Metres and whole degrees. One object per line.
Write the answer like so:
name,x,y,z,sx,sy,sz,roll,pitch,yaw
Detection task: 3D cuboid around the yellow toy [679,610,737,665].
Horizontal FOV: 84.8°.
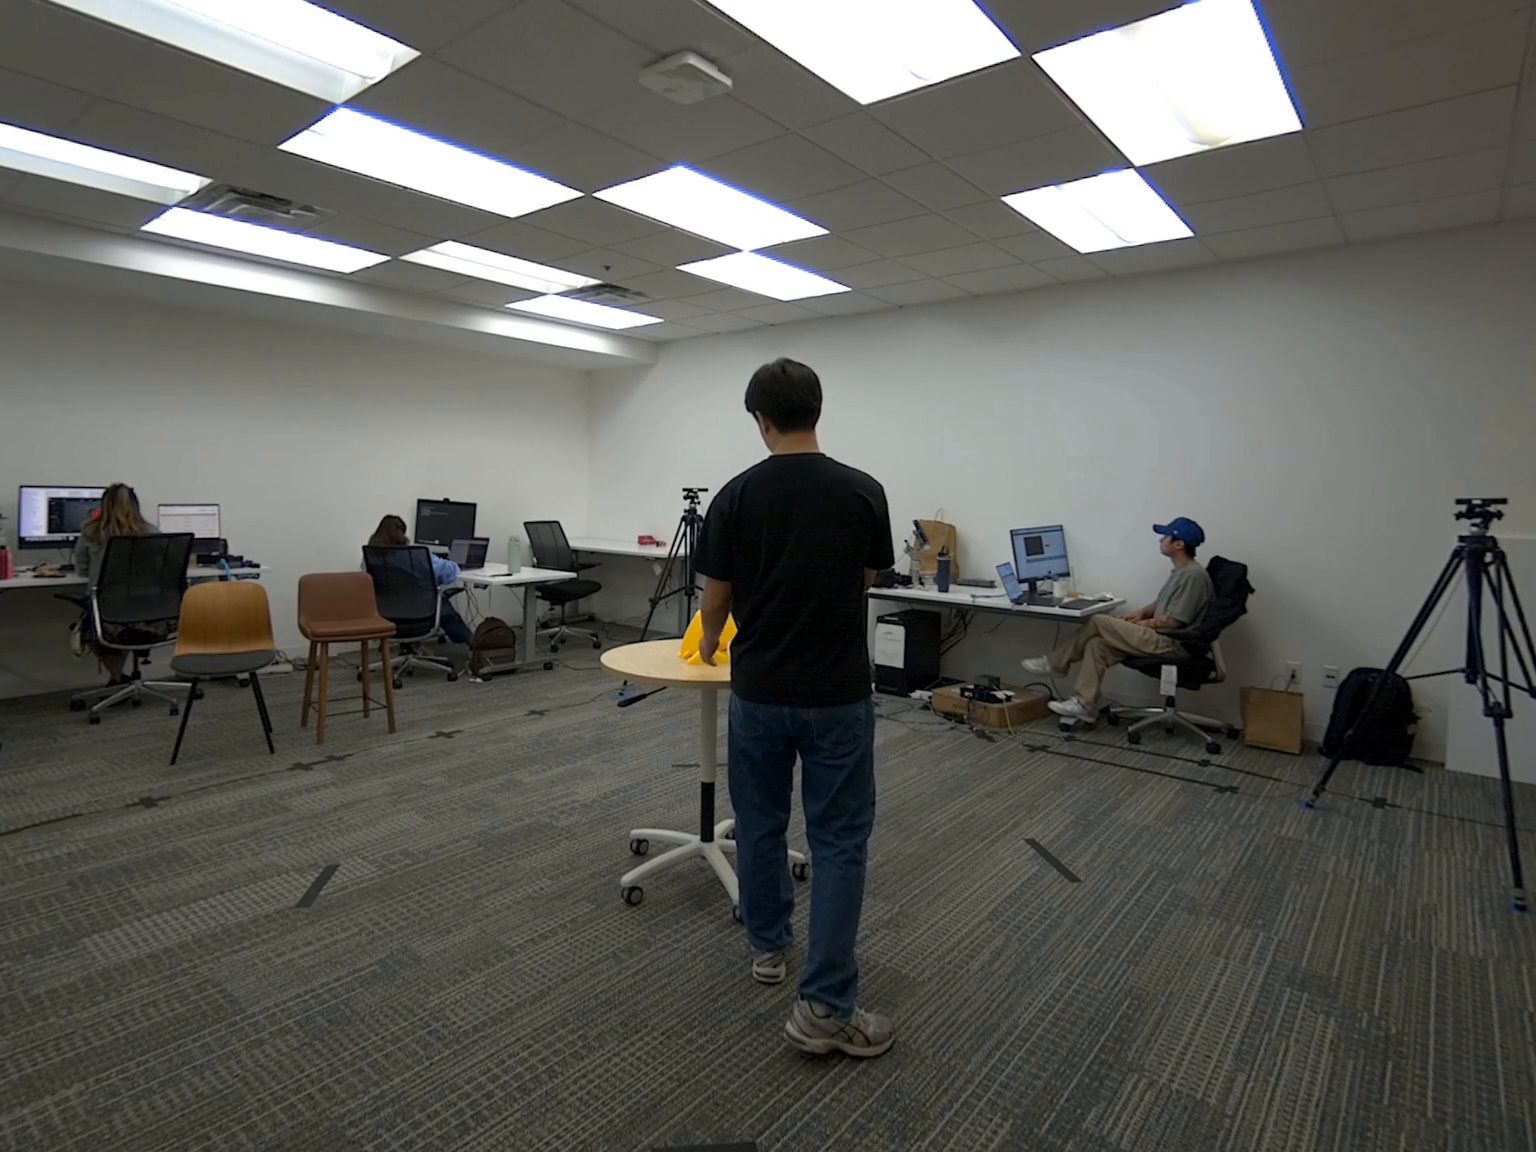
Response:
yellow toy,-0.223,0.172,2.961,0.189,0.230,0.209,1,3,-20
